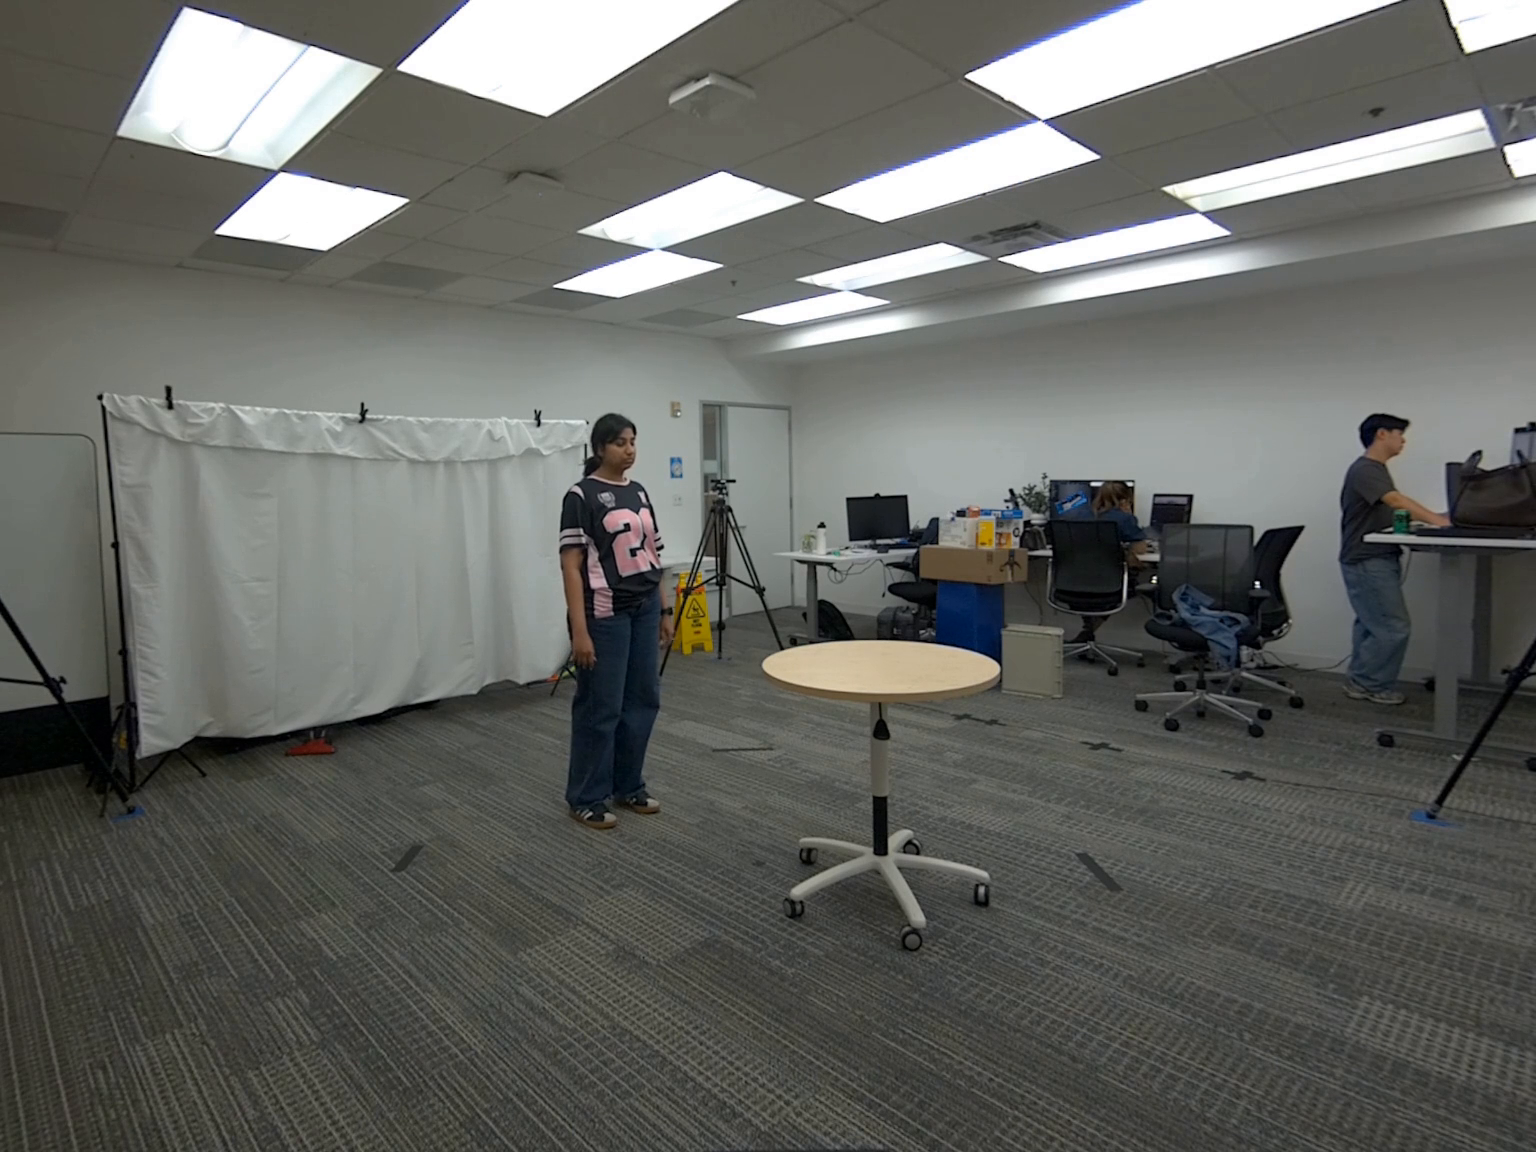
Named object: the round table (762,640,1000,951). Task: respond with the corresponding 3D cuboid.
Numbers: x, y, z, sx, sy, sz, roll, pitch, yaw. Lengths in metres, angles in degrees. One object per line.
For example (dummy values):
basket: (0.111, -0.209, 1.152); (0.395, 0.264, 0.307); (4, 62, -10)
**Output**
round table: (0.368, 0.675, 2.855); (0.784, 0.783, 0.789); (-1, 5, -2)
